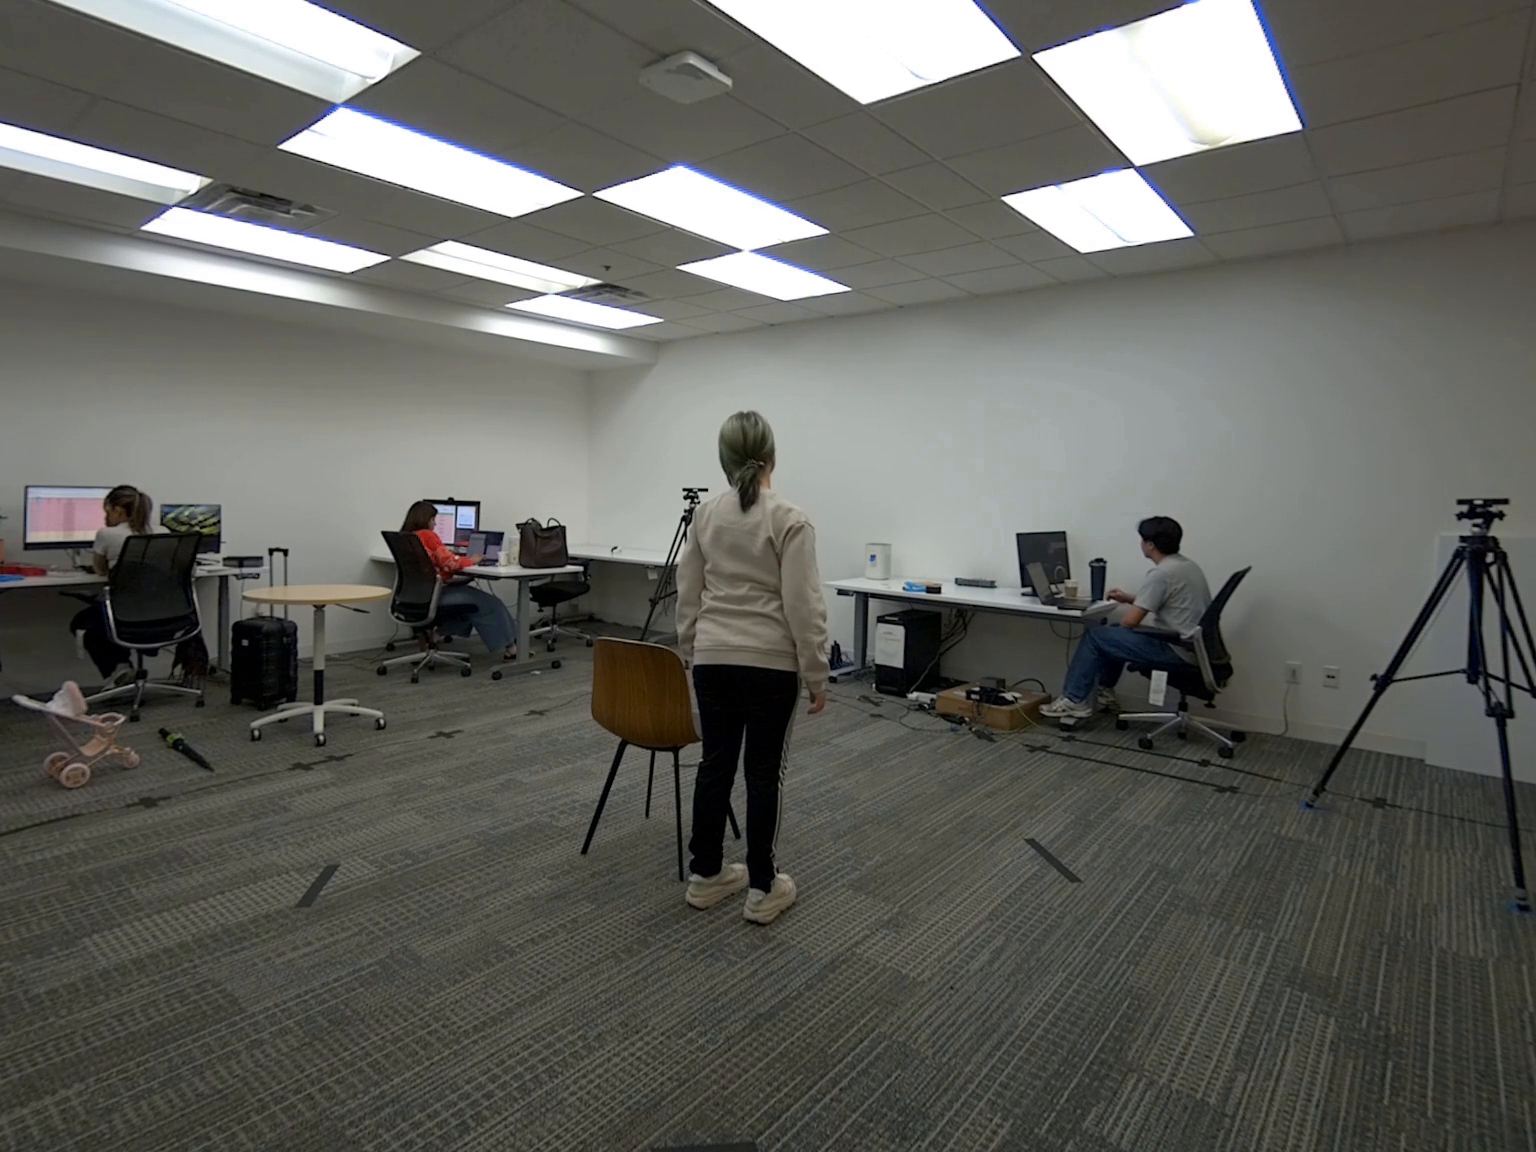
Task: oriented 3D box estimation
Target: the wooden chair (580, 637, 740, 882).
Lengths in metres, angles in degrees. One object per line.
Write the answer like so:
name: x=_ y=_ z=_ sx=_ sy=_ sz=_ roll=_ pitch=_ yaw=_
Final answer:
wooden chair: x=-0.409 y=0.622 z=3.289 sx=0.491 sy=0.872 sz=0.512 roll=2 pitch=7 yaw=27
